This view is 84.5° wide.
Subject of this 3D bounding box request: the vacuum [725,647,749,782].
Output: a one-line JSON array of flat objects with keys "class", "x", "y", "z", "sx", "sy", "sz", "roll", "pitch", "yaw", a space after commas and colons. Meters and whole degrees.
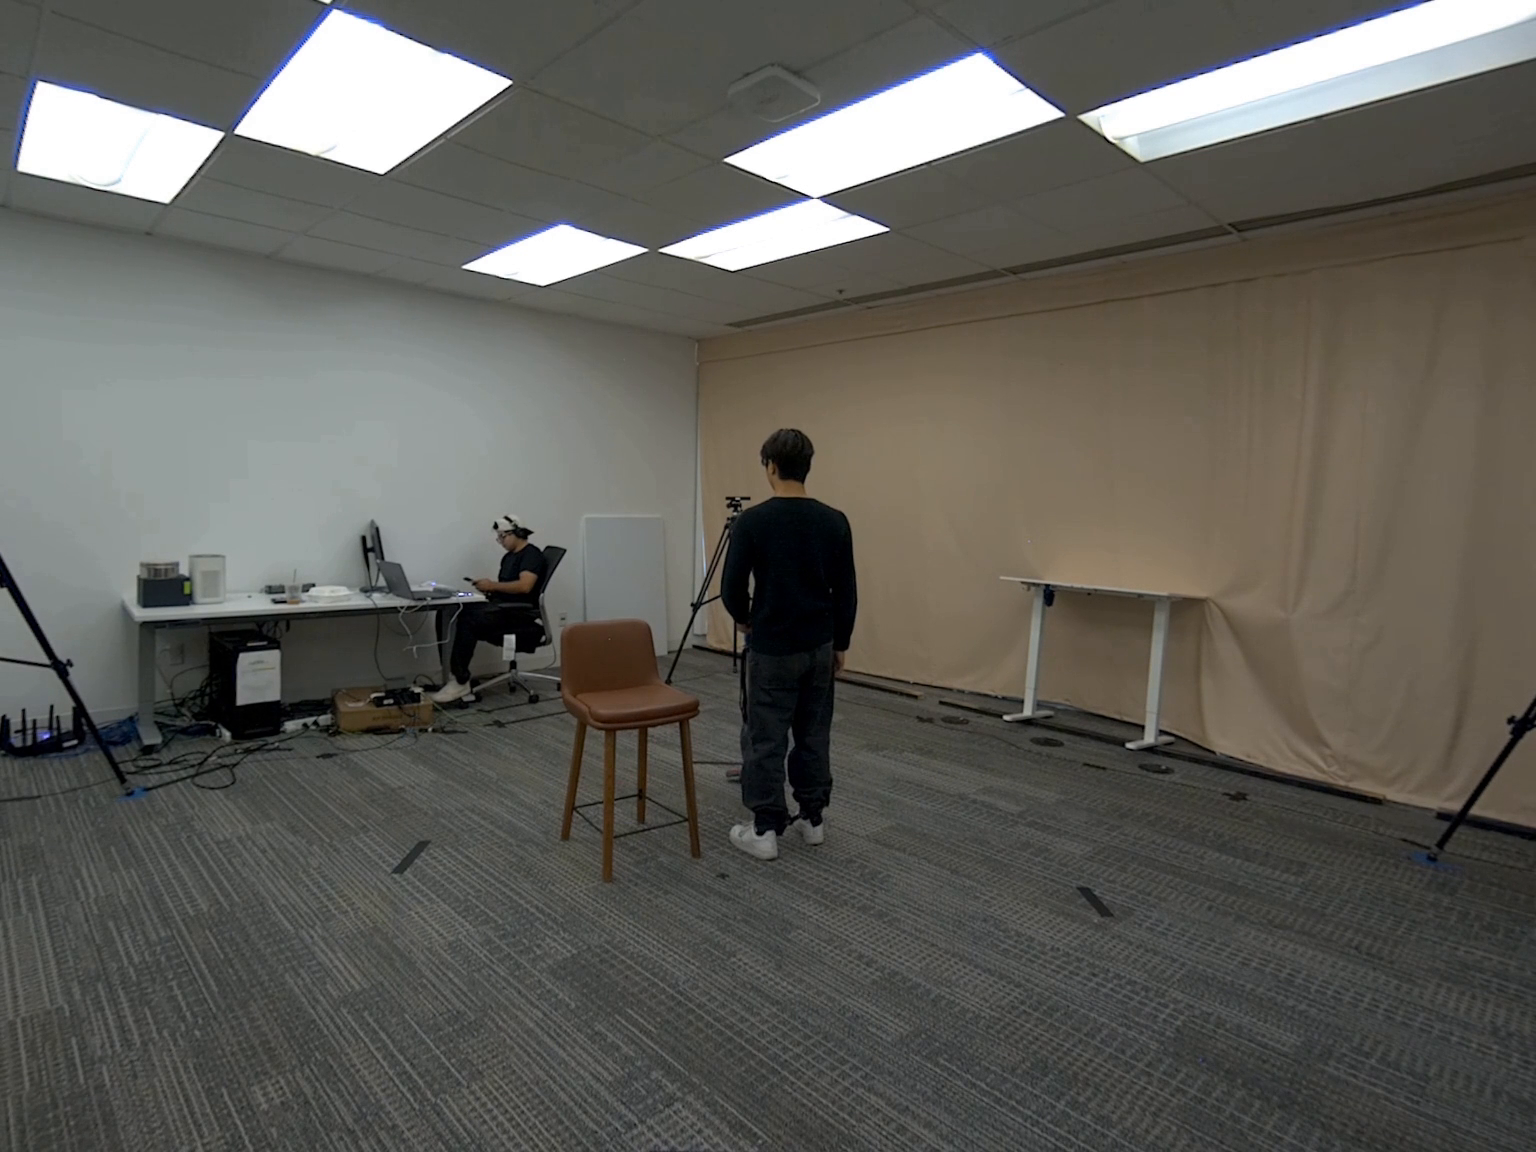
[{"class": "vacuum", "x": -0.093, "y": 0.594, "z": 3.834, "sx": 0.251, "sy": 1.027, "sz": 0.148, "roll": -4, "pitch": 38, "yaw": -7}]
